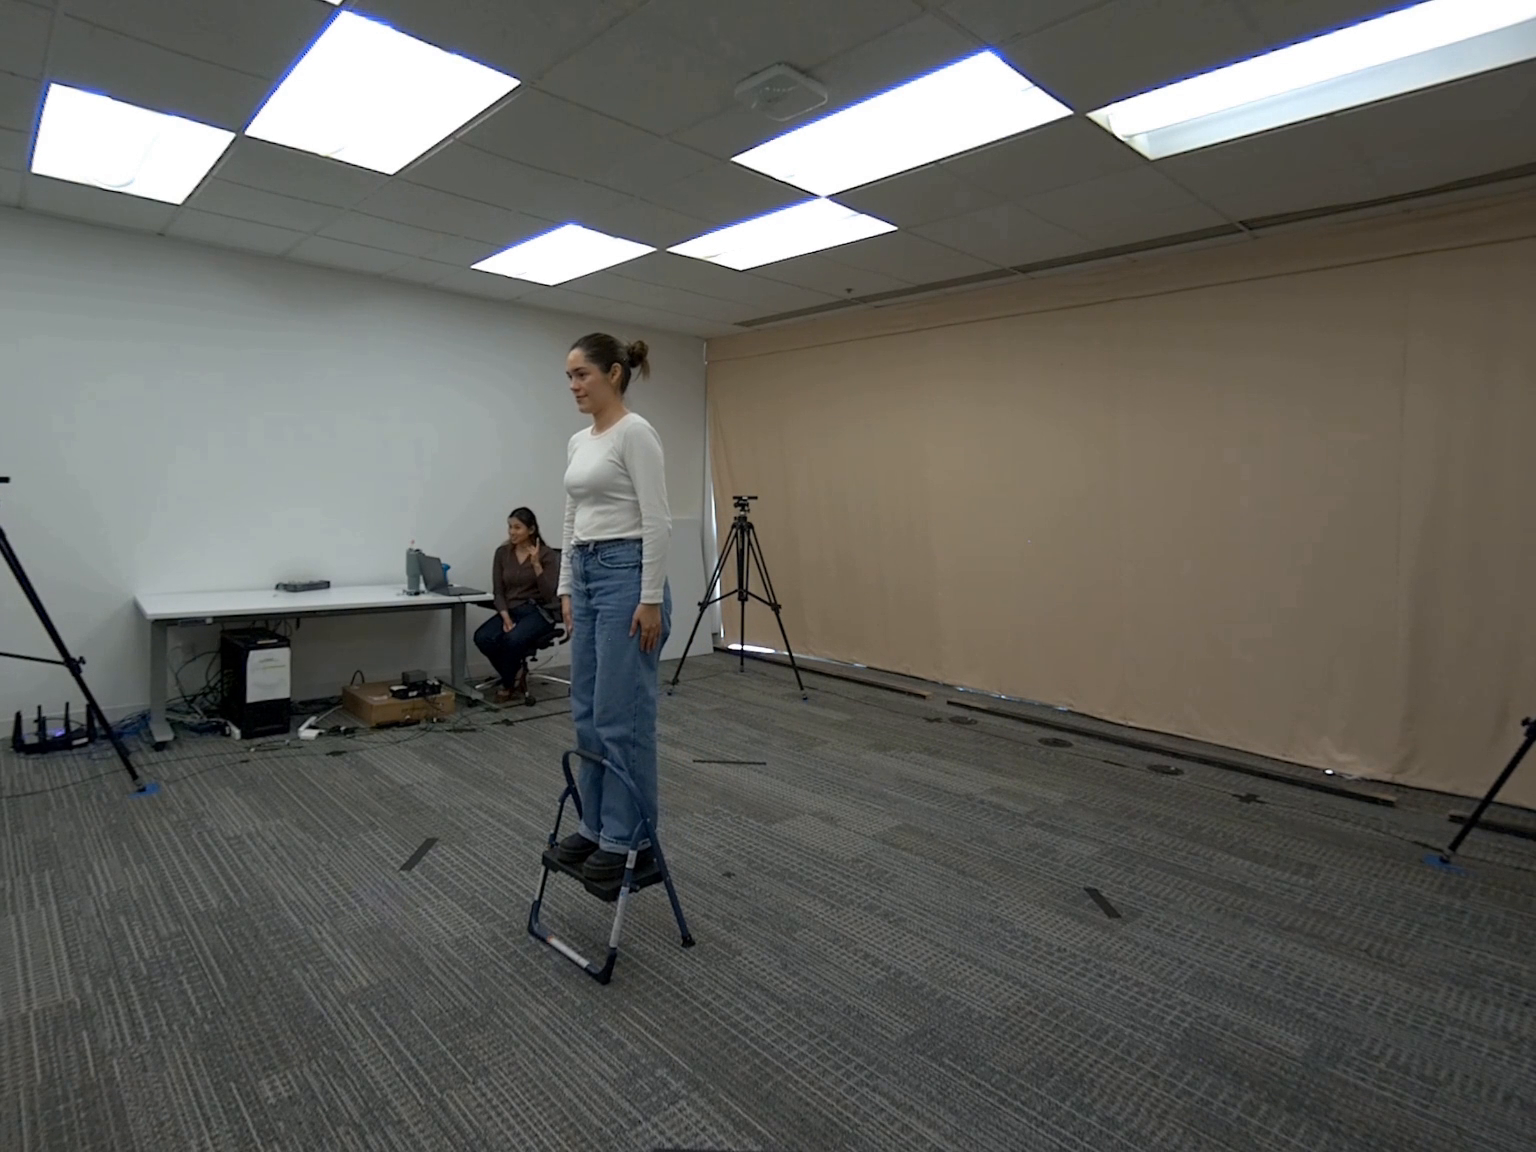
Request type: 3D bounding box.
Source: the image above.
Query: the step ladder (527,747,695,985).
[{"bbox_3d":[-0.501,0.839,2.628,0.441,0.604,0.341,4,5,43],"label":"step ladder"}]
